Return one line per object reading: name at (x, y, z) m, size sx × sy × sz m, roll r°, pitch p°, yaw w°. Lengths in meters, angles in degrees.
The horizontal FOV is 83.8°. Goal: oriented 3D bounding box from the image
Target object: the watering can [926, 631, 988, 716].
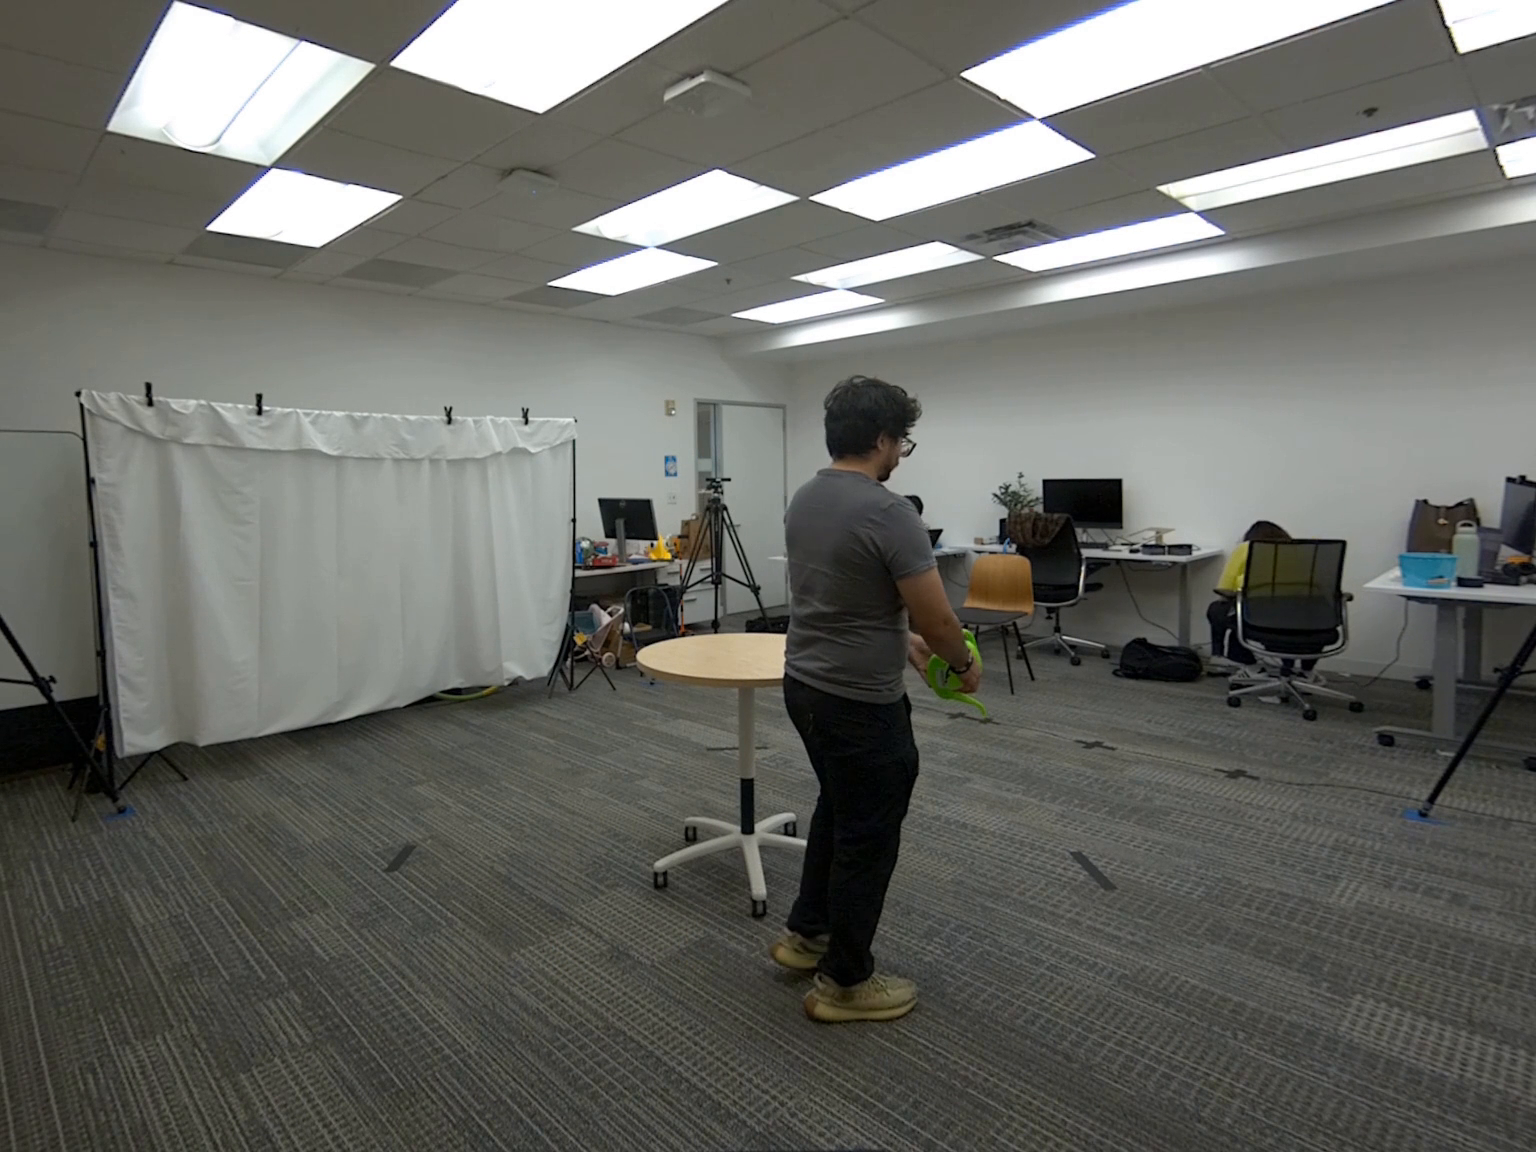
watering can at (0.550, 0.291, 2.390) m, size 0.174 × 0.277 × 0.100 m, roll -21°, pitch 3°, yaw -40°
